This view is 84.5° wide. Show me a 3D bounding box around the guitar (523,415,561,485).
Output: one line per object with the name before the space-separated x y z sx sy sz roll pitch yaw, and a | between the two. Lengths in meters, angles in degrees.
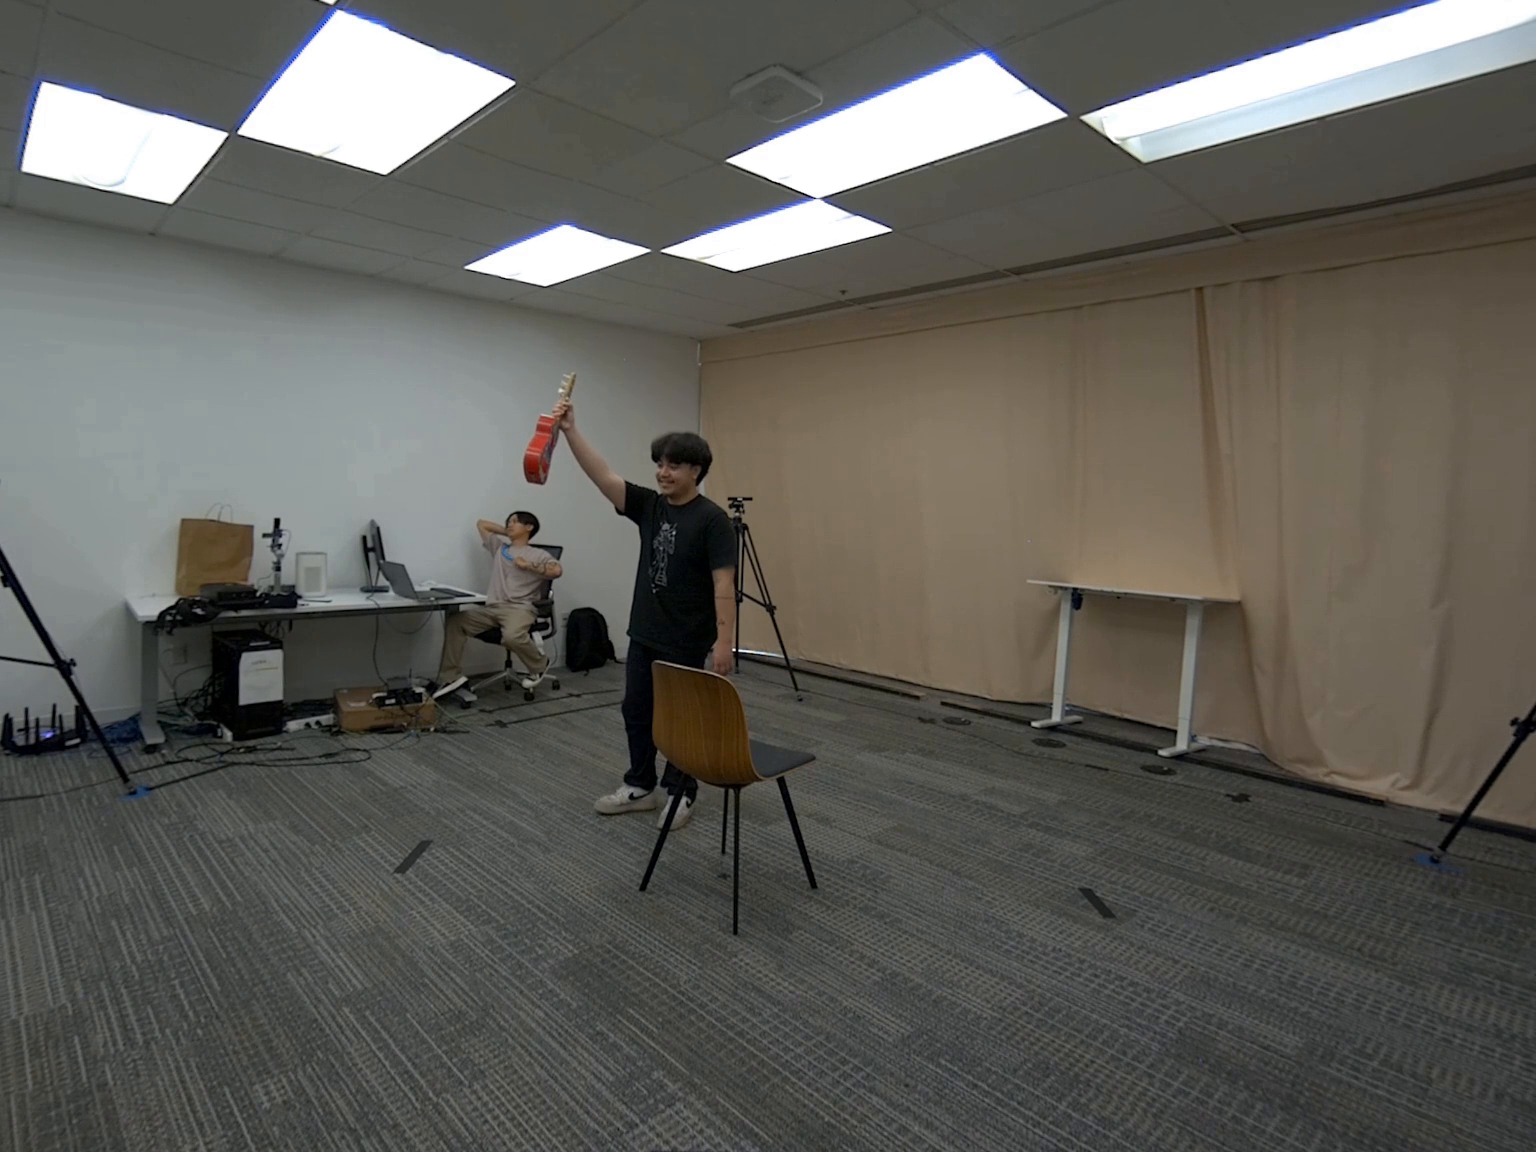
guitar | -0.873 -0.585 3.356 0.071 0.505 0.190 12 -33 -1
